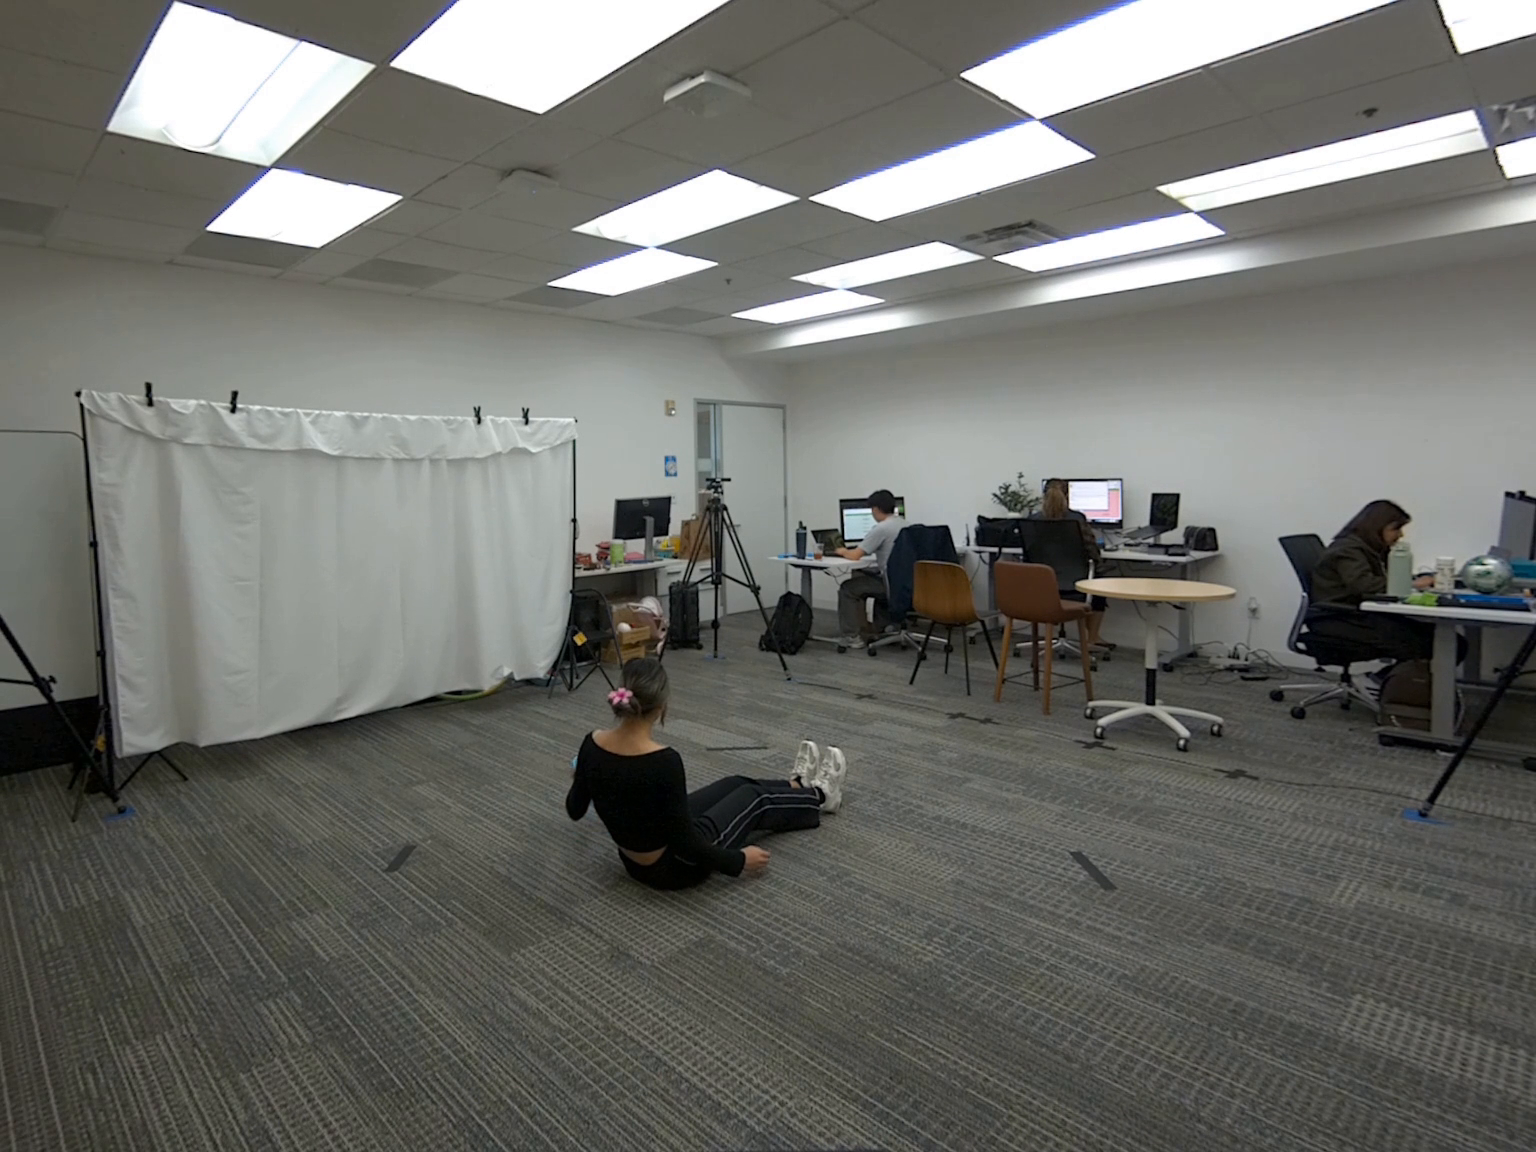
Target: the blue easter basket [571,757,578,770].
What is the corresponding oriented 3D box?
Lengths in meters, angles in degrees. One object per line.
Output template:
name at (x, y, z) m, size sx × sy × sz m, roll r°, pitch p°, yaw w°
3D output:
blue easter basket at (-0.657, 0.813, 3.439) m, size 0.243 × 0.154 × 0.246 m, roll -2°, pitch 13°, yaw -1°
